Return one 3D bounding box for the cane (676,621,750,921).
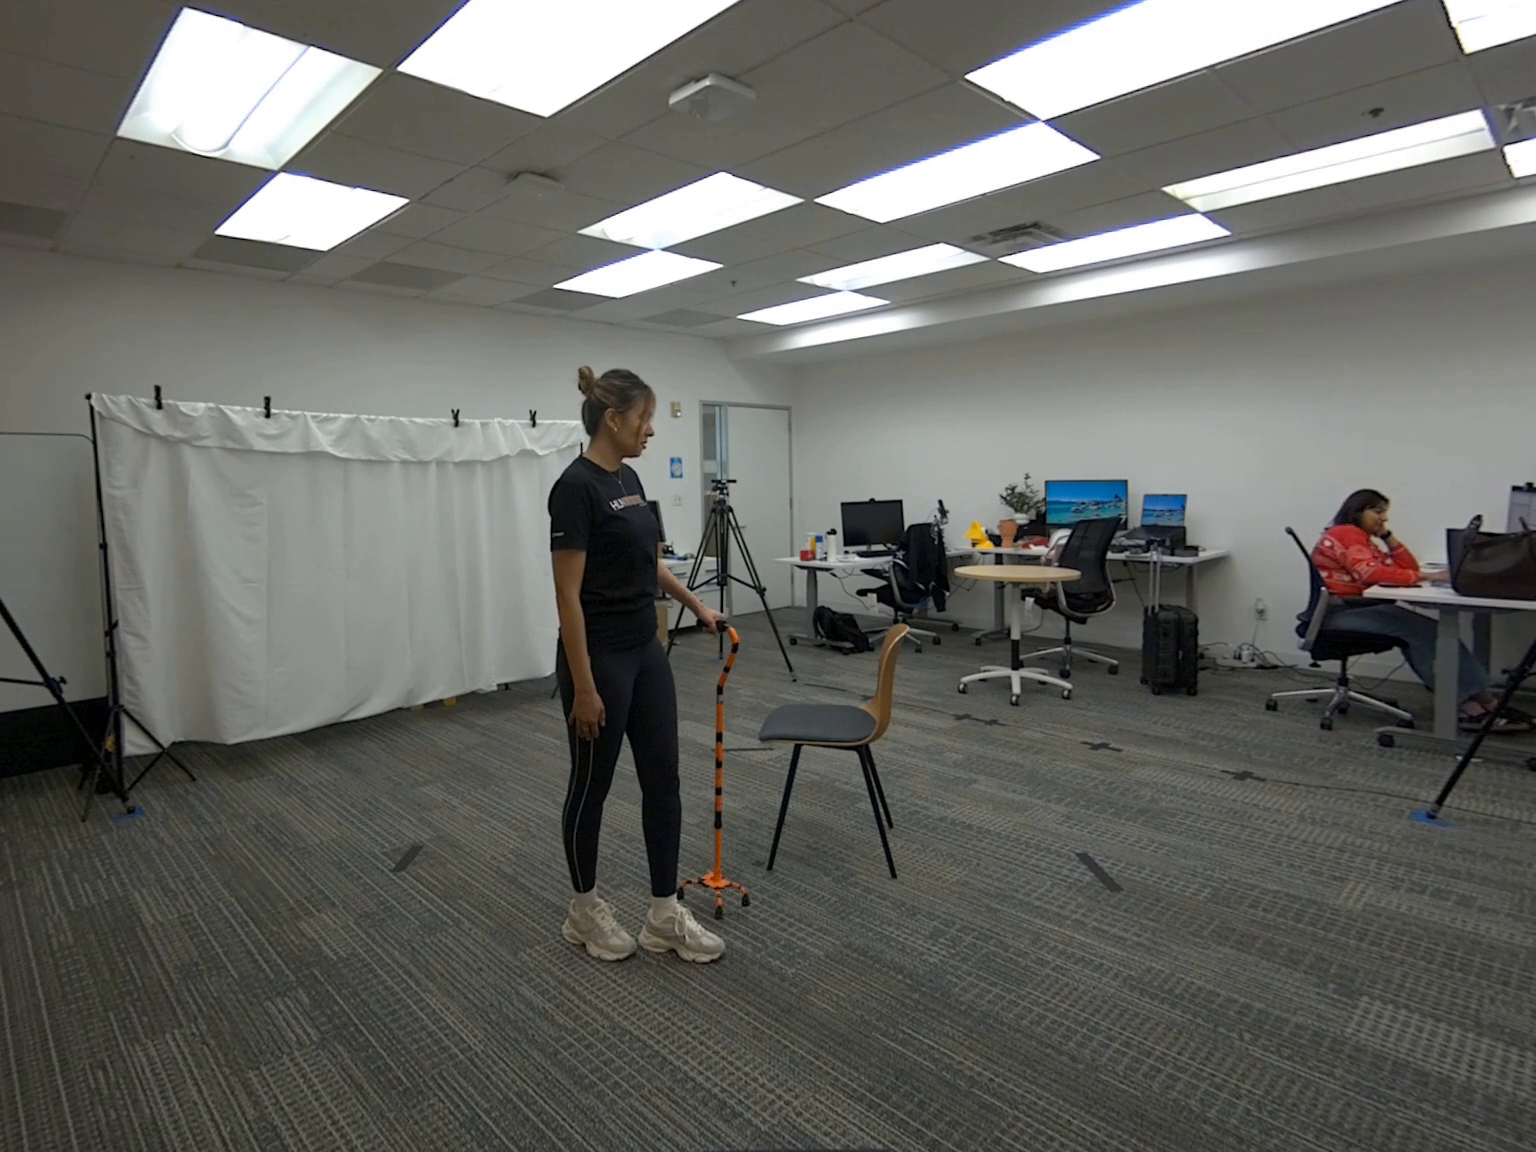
[{"bbox_3d":[-0.160,0.604,2.734,0.213,0.905,0.147,3,4,44],"label":"cane"}]
